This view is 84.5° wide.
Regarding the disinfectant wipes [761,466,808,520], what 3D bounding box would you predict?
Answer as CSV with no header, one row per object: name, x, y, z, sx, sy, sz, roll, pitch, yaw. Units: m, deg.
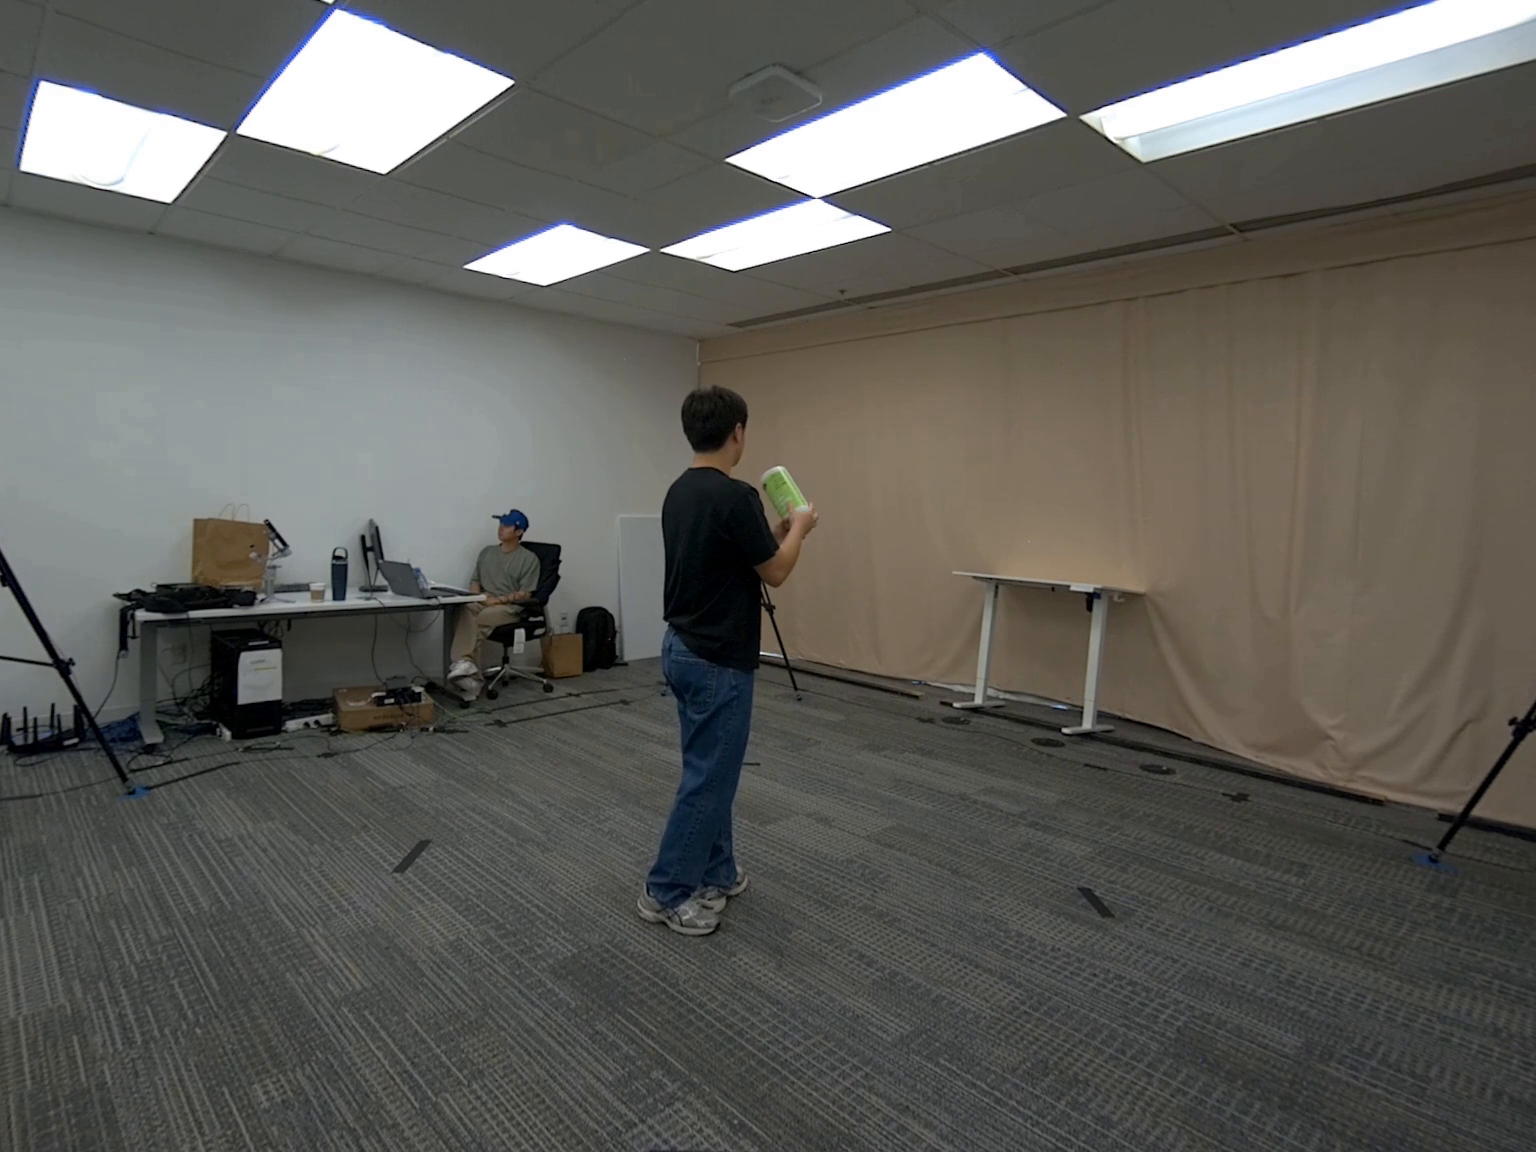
disinfectant wipes,0.055,-0.277,2.999,0.117,0.223,0.115,-23,-28,-14
